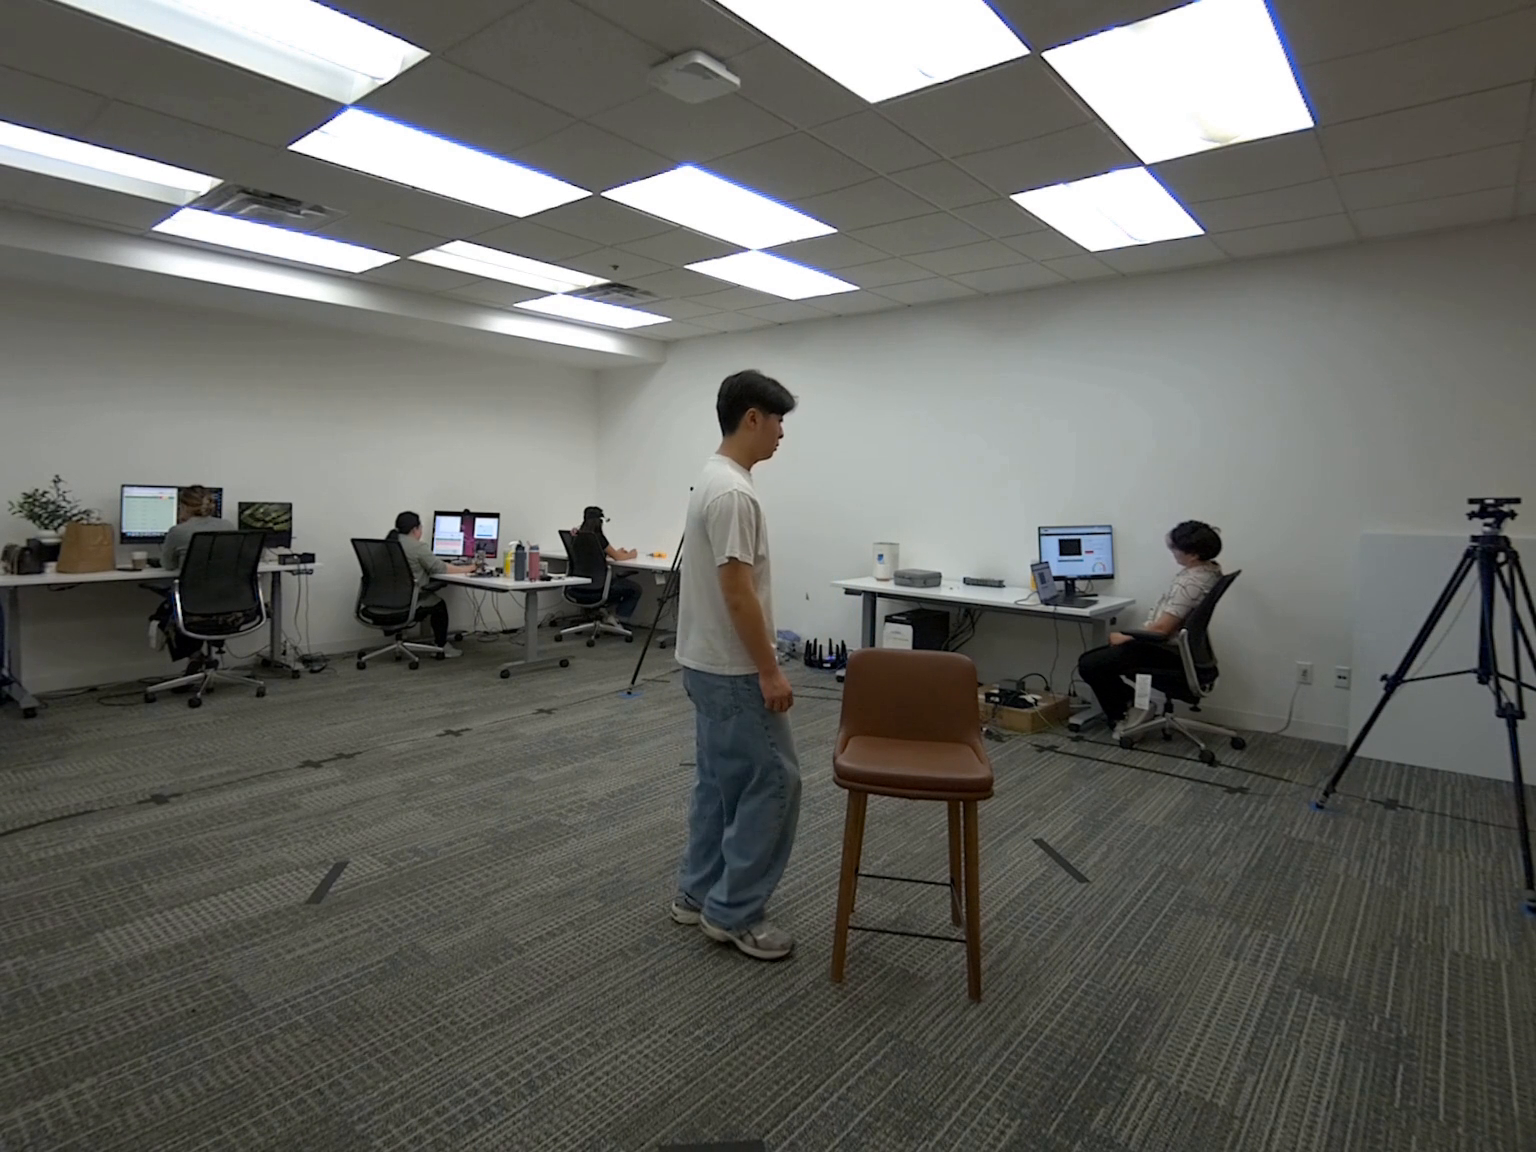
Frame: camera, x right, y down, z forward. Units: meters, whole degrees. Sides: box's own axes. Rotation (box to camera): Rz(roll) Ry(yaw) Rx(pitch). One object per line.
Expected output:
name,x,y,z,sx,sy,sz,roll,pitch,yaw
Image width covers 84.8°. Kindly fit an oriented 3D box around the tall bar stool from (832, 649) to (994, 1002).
tall bar stool,0.424,0.704,2.561,0.462,0.888,0.462,3,2,10
